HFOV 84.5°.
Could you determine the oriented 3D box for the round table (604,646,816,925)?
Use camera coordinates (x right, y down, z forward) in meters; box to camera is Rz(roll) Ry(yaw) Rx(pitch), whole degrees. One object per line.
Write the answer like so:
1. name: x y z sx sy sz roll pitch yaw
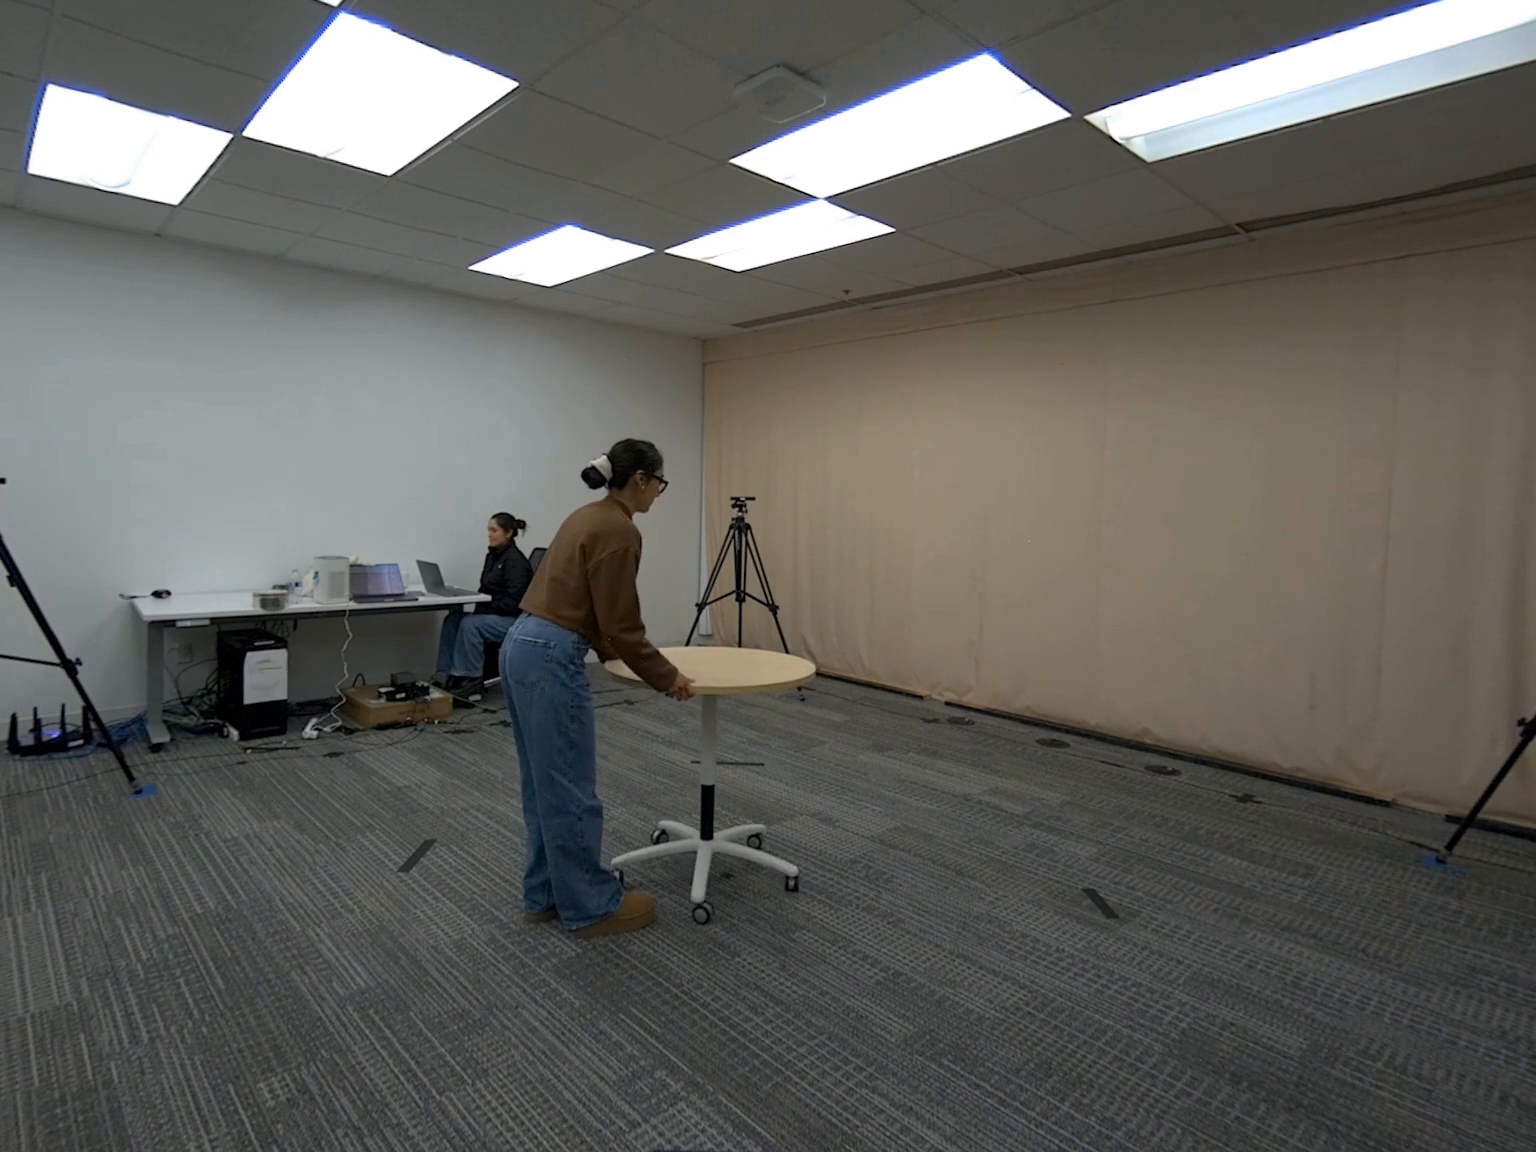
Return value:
1. round table: -0.223 0.717 3.081 0.763 0.792 0.766 1 3 -1
